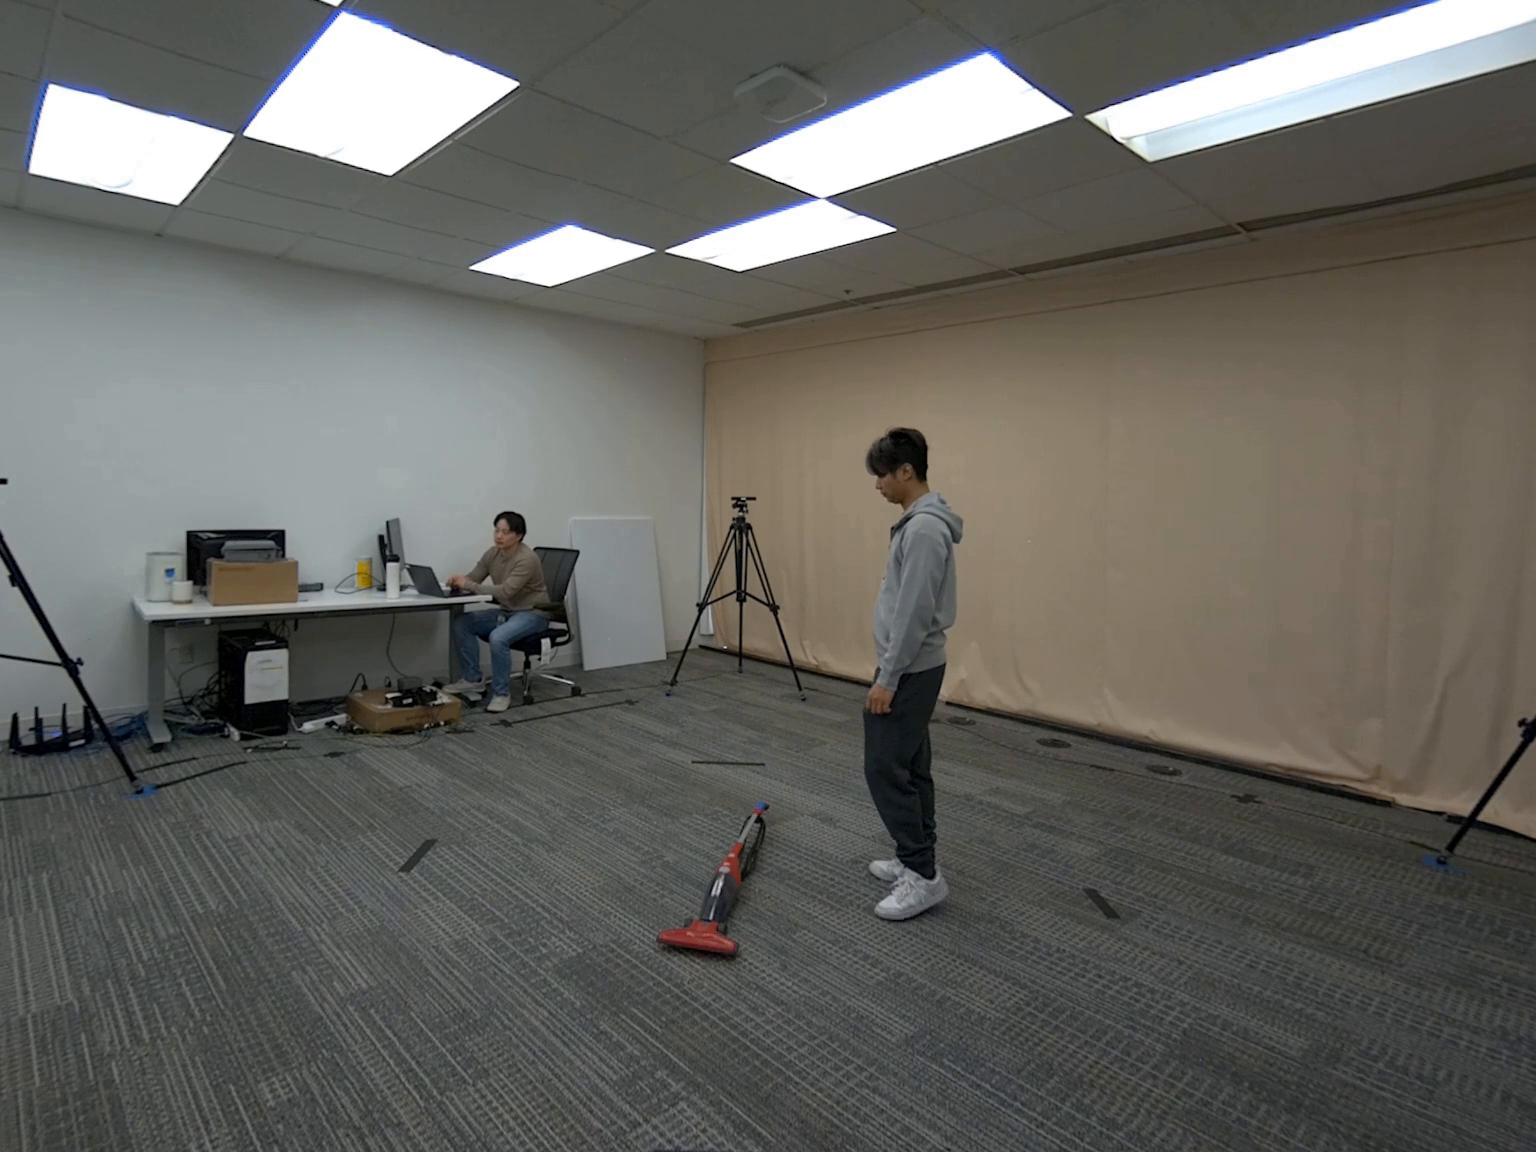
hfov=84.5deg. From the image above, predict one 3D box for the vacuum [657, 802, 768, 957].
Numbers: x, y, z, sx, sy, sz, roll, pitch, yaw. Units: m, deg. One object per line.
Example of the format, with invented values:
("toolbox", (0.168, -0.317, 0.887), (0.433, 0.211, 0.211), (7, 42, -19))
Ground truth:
("vacuum", (-0.112, 1.051, 3.142), (0.255, 0.143, 1.044), (-4, 7, 11))
